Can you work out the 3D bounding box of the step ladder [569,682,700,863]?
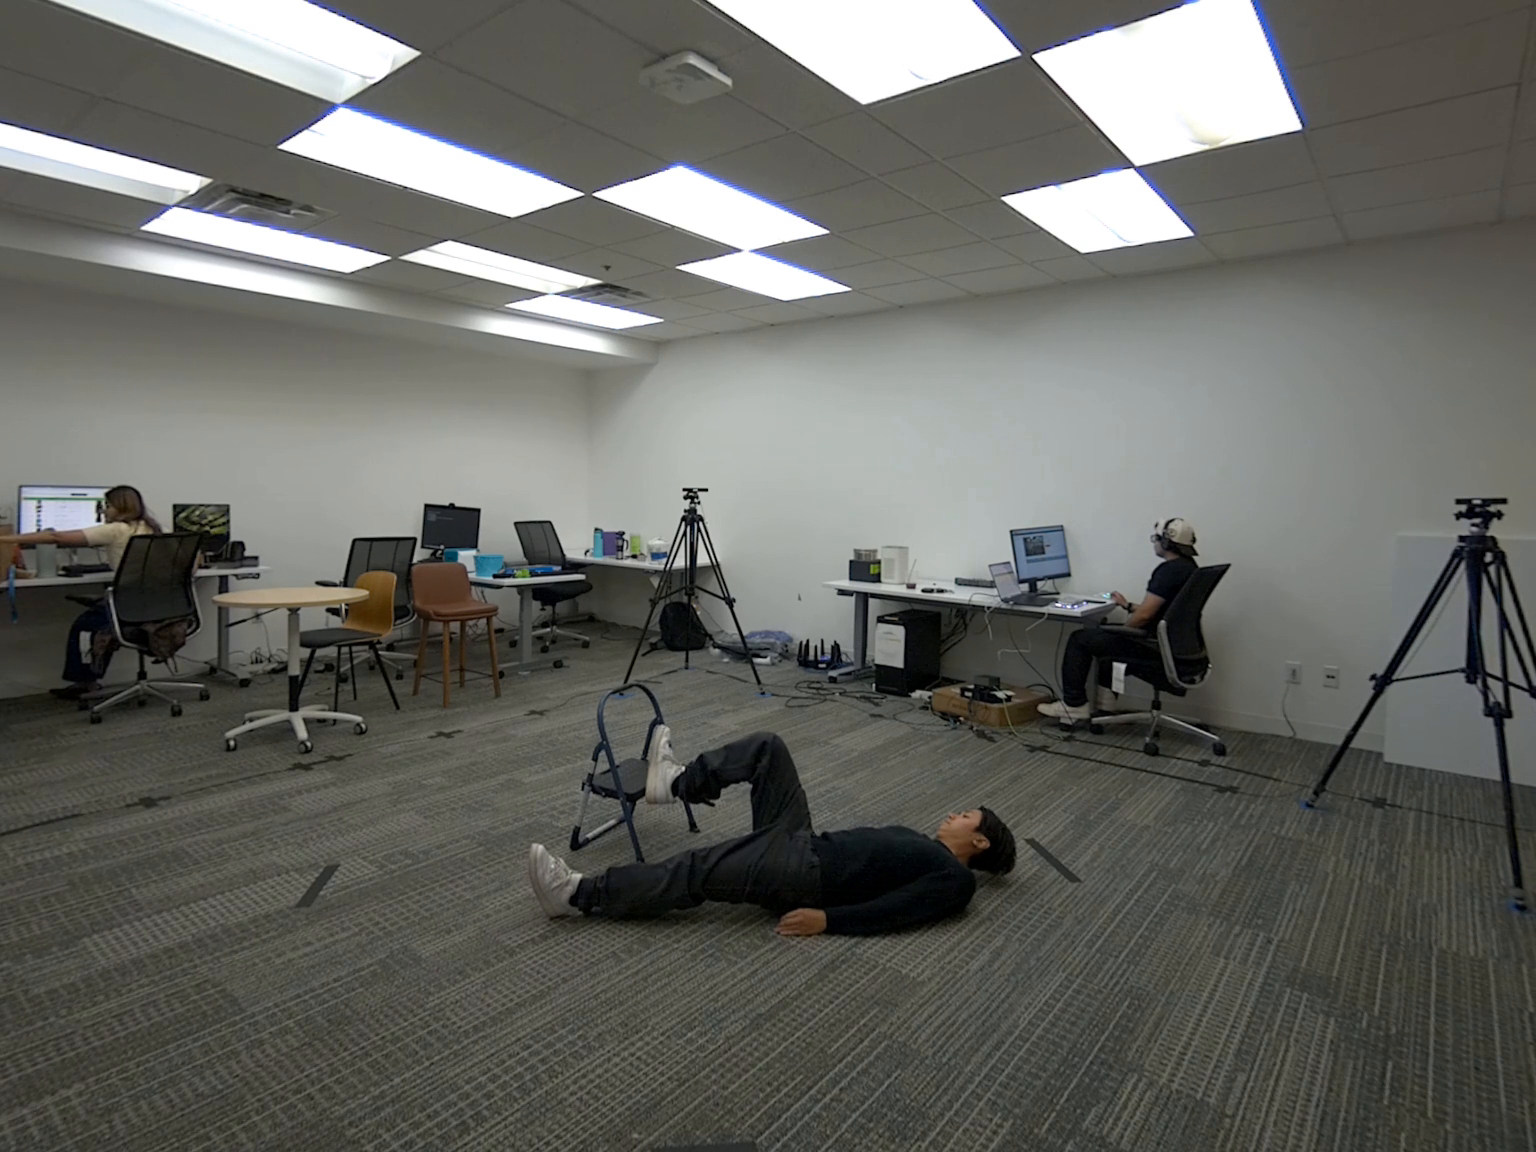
[{"bbox_3d":[-0.525,0.737,3.343,0.358,0.604,0.421,3,4,25],"label":"step ladder"}]
